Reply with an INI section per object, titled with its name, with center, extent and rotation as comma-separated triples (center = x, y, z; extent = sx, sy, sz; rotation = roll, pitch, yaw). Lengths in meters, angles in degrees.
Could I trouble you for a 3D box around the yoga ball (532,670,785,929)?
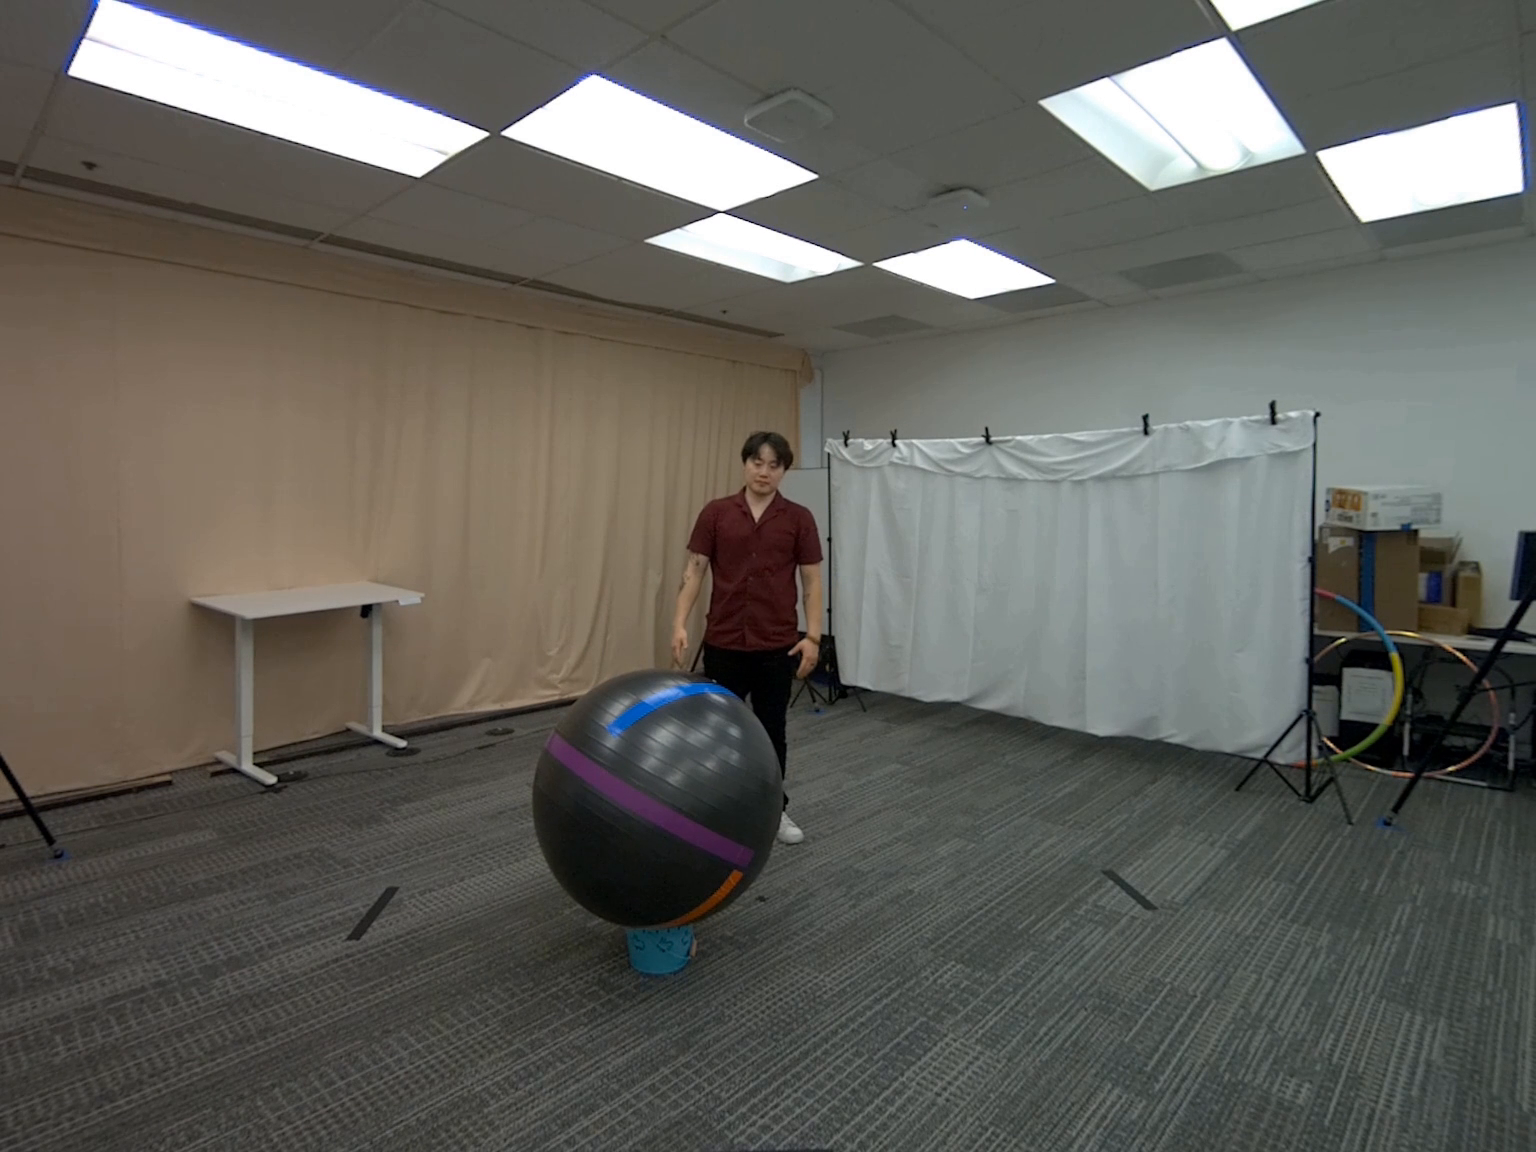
[yoga ball]
center = -0.340, 0.671, 2.579
extent = 0.757, 0.756, 0.760
rotation = 0, 4, -2
